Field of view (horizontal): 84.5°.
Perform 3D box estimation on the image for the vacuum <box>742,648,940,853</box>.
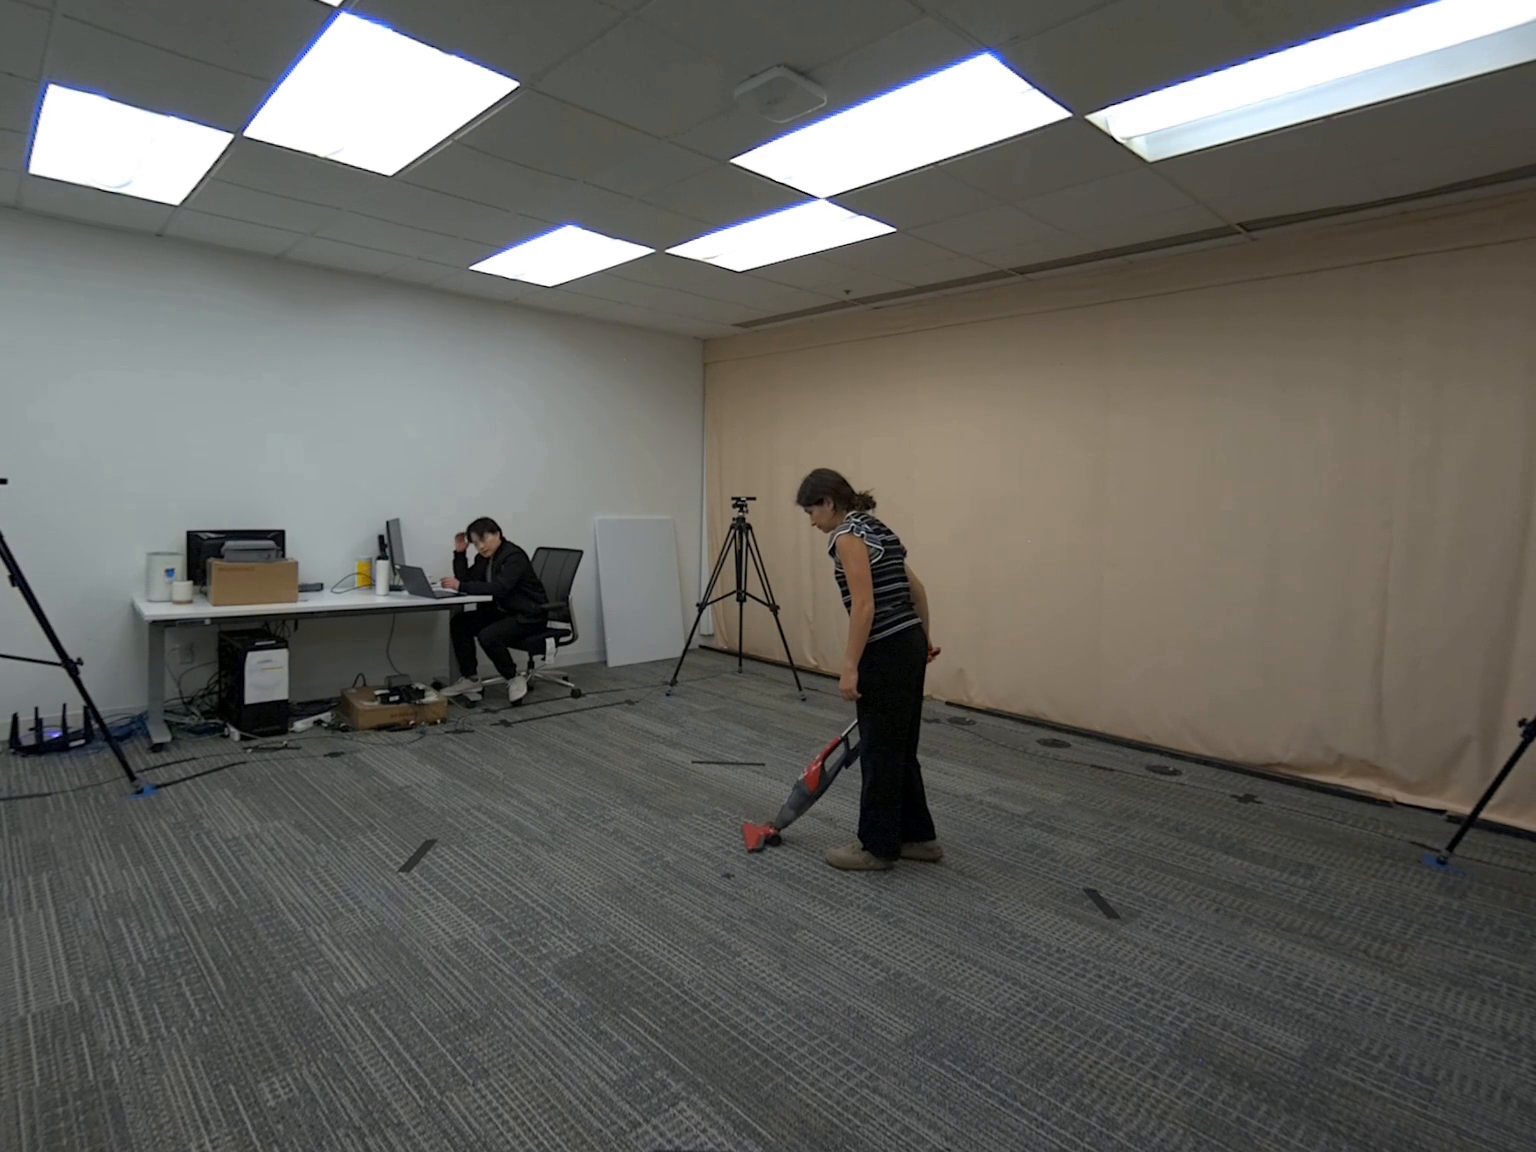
[{"bbox_3d":[0.314,0.696,3.453,0.143,1.049,0.254,45,-2,-7],"label":"vacuum"}]
